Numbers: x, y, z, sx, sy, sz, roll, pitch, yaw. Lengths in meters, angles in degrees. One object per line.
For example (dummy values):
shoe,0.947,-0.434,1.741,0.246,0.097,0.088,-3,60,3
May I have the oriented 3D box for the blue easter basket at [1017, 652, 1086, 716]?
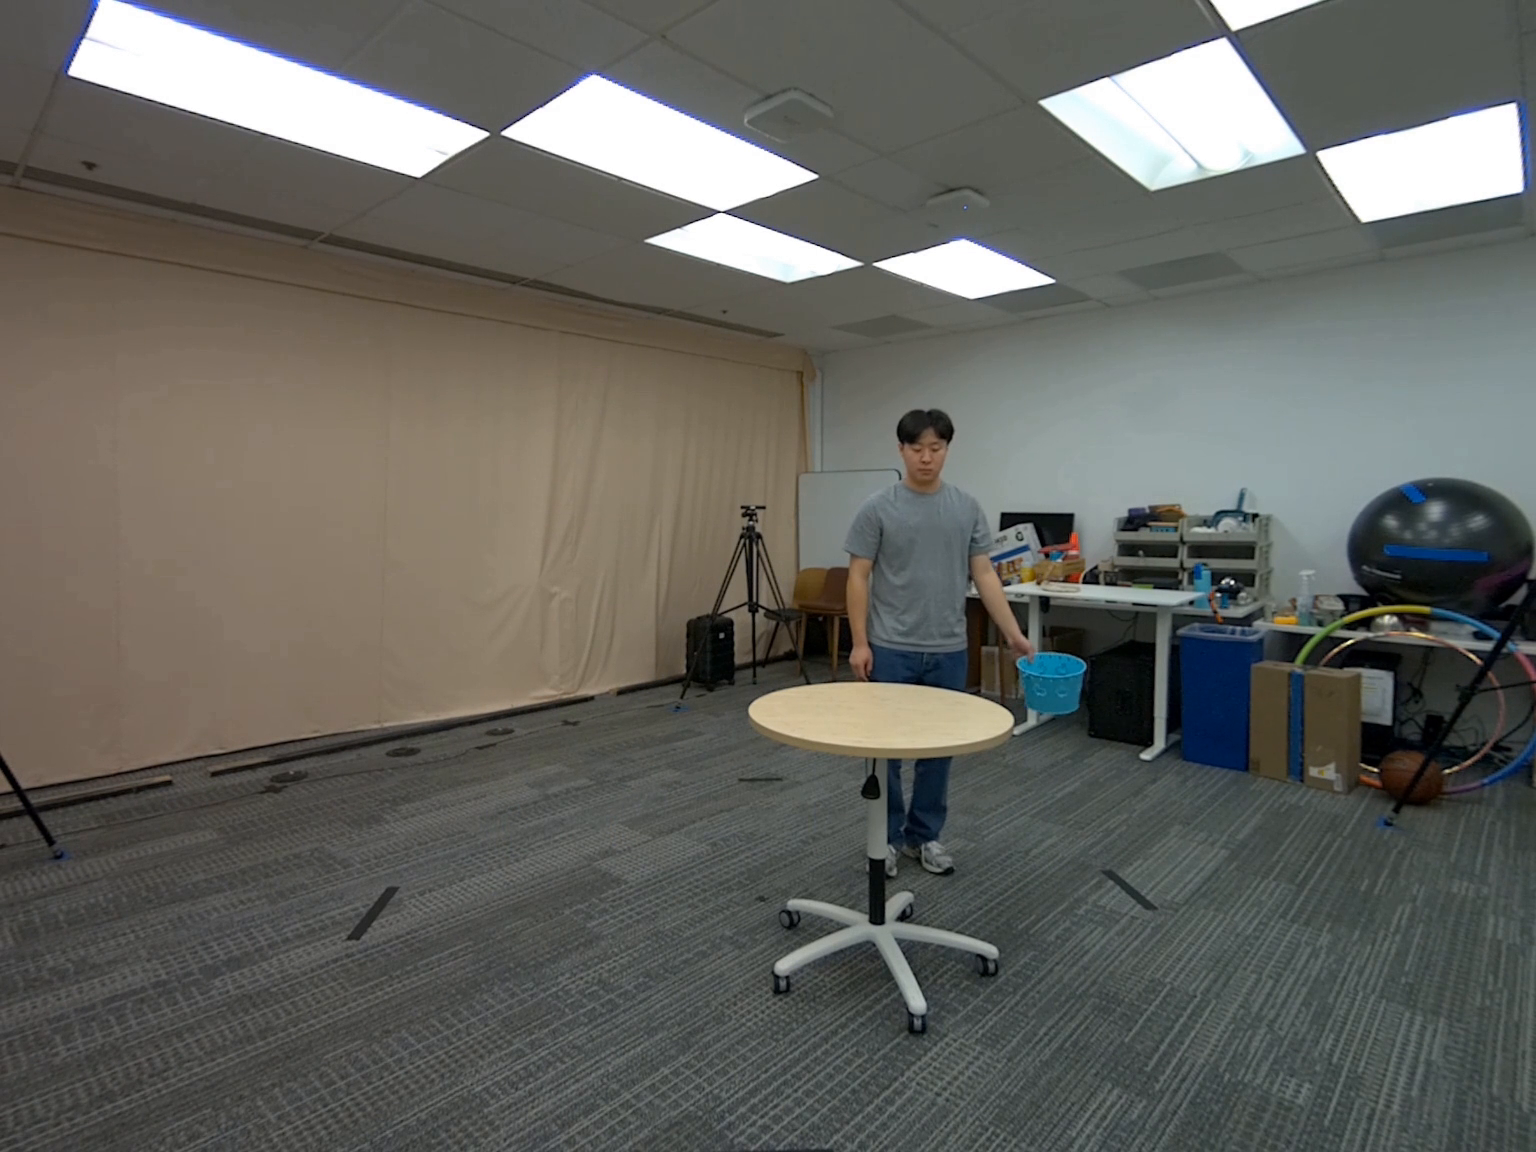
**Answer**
blue easter basket,1.038,0.381,3.023,0.244,0.154,0.246,-6,13,0
